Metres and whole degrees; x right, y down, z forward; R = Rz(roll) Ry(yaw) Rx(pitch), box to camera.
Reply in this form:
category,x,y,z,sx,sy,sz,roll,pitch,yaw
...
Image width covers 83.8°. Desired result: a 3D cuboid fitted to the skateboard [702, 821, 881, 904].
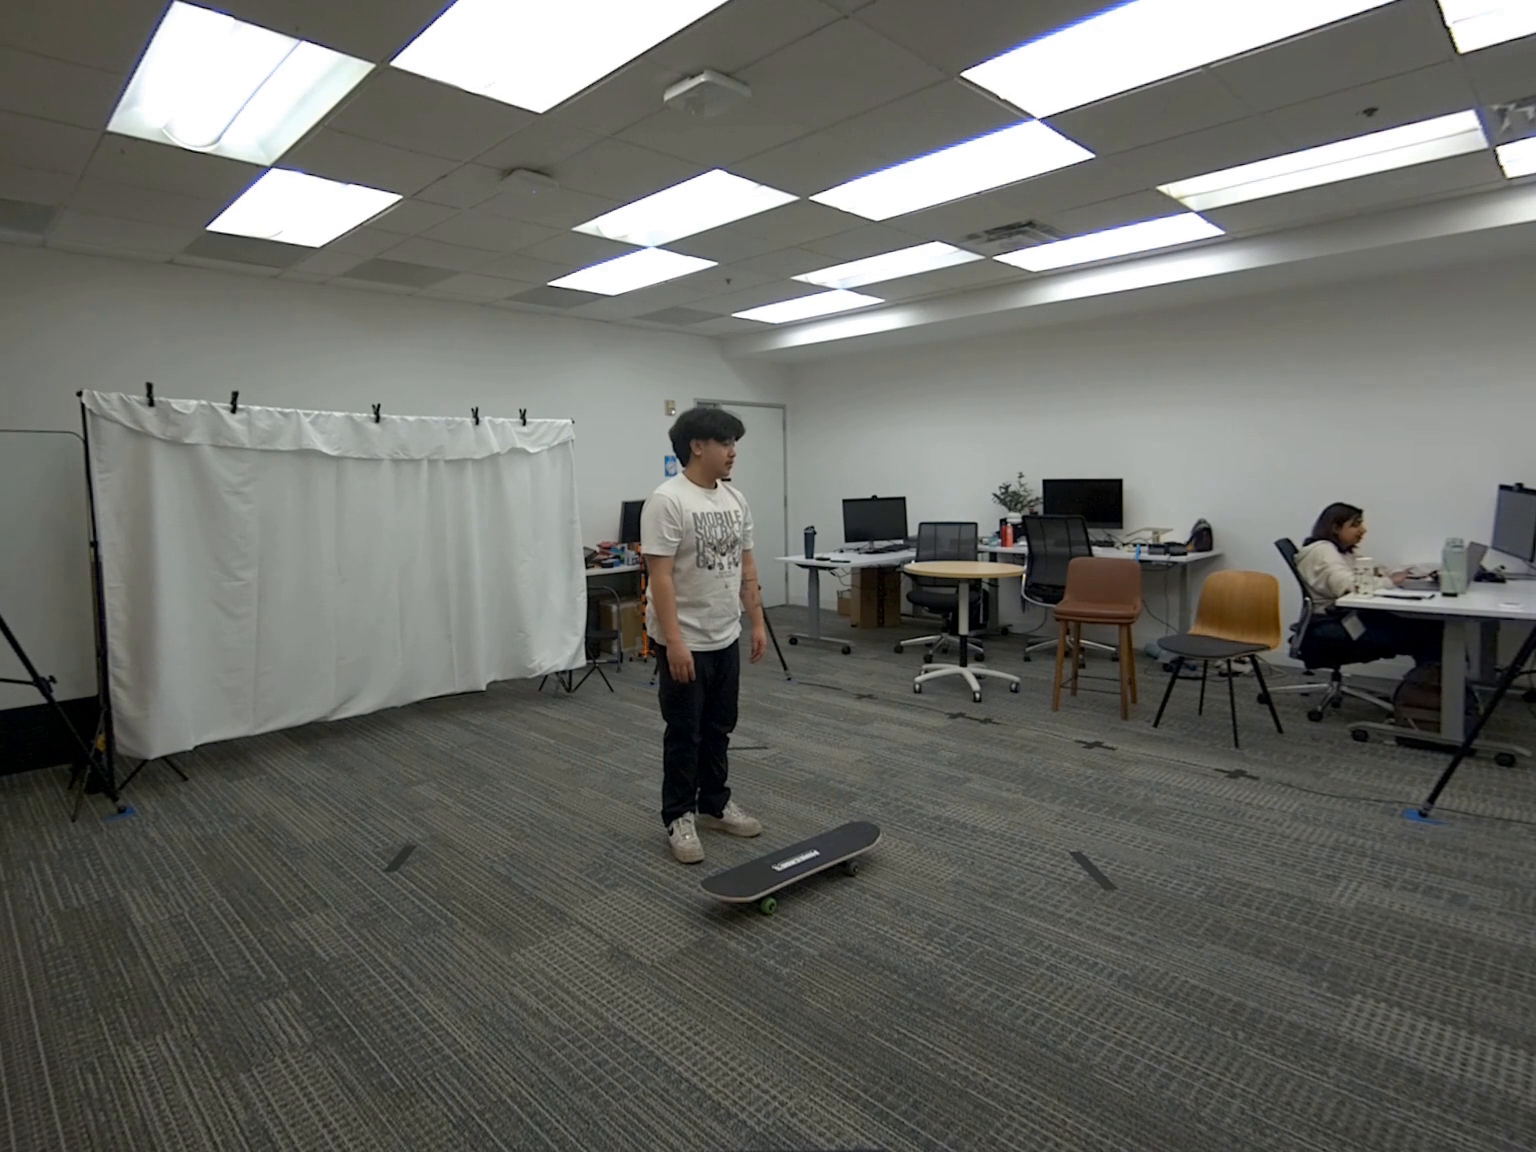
category,x,y,z,sx,sy,sz,roll,pitch,yaw
skateboard,0.103,1.001,2.925,0.765,0.110,0.199,-7,9,-41
